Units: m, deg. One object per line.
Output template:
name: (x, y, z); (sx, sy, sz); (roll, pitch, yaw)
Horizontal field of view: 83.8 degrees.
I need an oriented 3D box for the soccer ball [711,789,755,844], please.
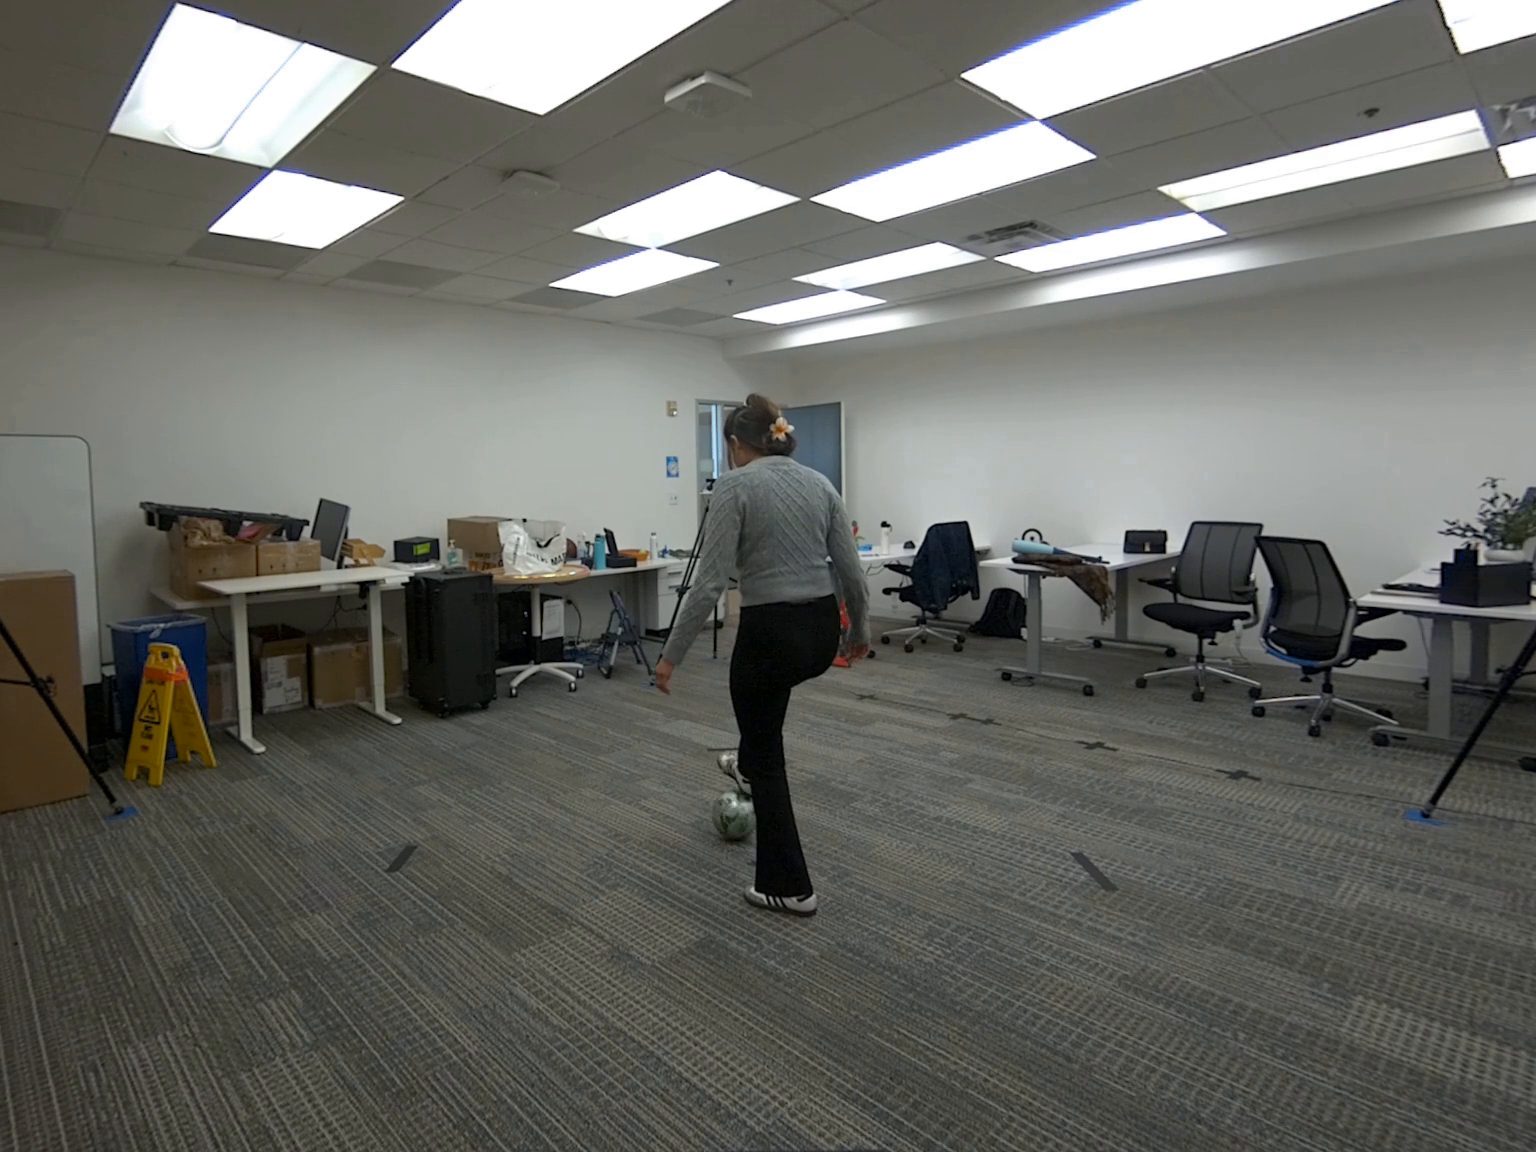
soccer ball: (-0.123, 0.927, 3.314); (0.187, 0.187, 0.188); (-1, 5, -2)
